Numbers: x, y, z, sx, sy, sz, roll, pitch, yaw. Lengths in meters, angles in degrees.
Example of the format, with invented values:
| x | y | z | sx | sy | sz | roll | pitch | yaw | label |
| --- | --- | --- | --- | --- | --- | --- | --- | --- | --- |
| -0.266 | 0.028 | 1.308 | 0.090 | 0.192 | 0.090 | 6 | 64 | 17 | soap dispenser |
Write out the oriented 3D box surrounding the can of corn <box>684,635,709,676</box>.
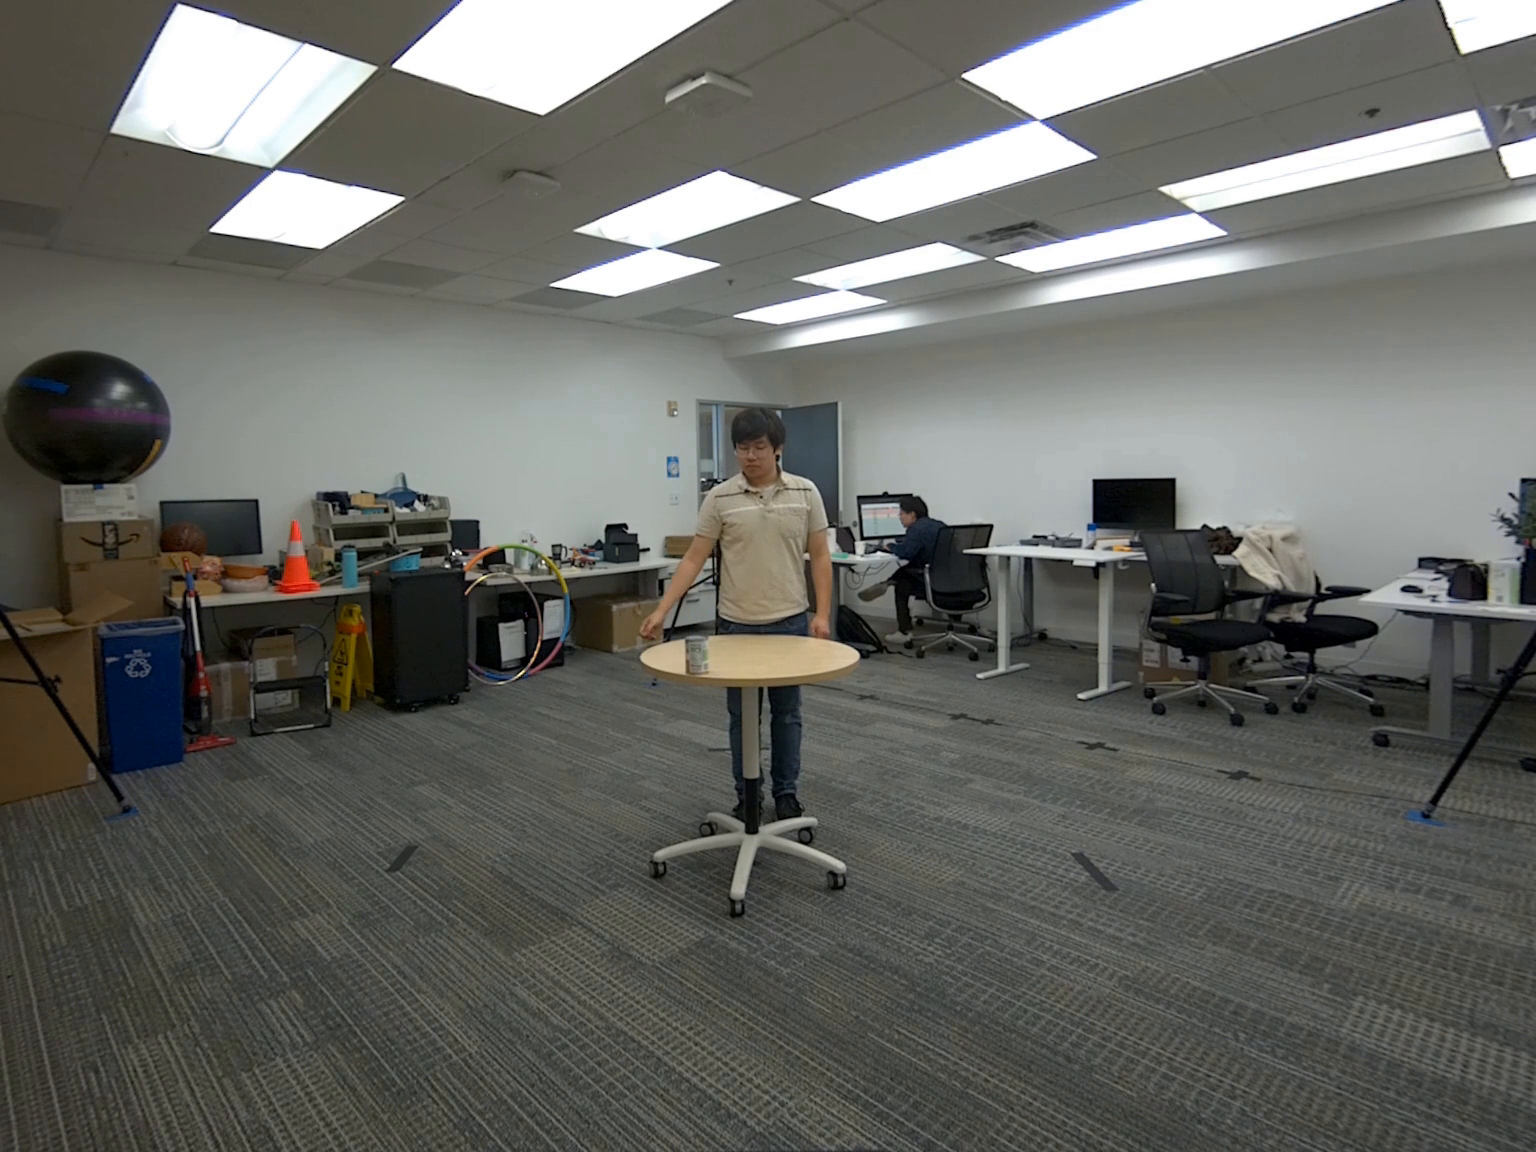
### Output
| x | y | z | sx | sy | sz | roll | pitch | yaw | label |
| --- | --- | --- | --- | --- | --- | --- | --- | --- | --- |
| -0.226 | 0.253 | 2.698 | 0.074 | 0.111 | 0.074 | -5 | 0 | -2 | can of corn |
